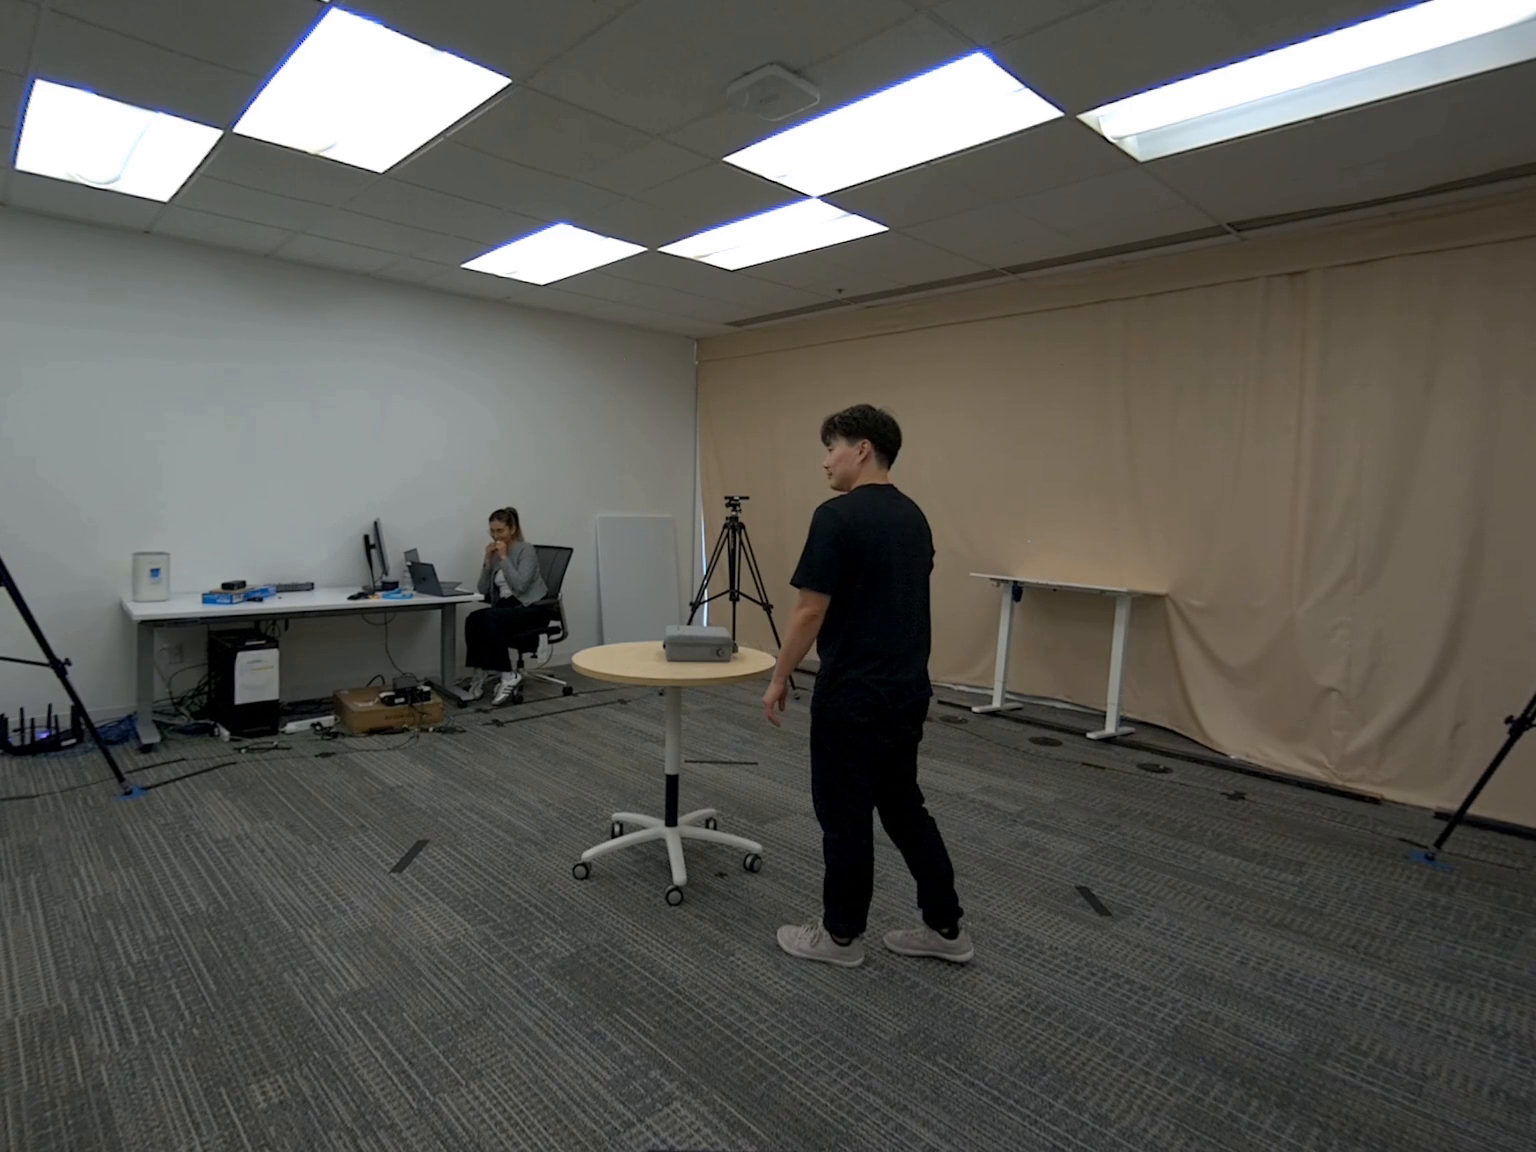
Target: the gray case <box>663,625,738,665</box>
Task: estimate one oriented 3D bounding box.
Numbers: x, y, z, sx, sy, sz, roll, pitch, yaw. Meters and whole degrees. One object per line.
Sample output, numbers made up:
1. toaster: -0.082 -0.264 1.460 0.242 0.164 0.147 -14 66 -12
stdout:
1. gray case: -0.263 0.258 3.213 0.259 0.104 0.259 2 3 -7
